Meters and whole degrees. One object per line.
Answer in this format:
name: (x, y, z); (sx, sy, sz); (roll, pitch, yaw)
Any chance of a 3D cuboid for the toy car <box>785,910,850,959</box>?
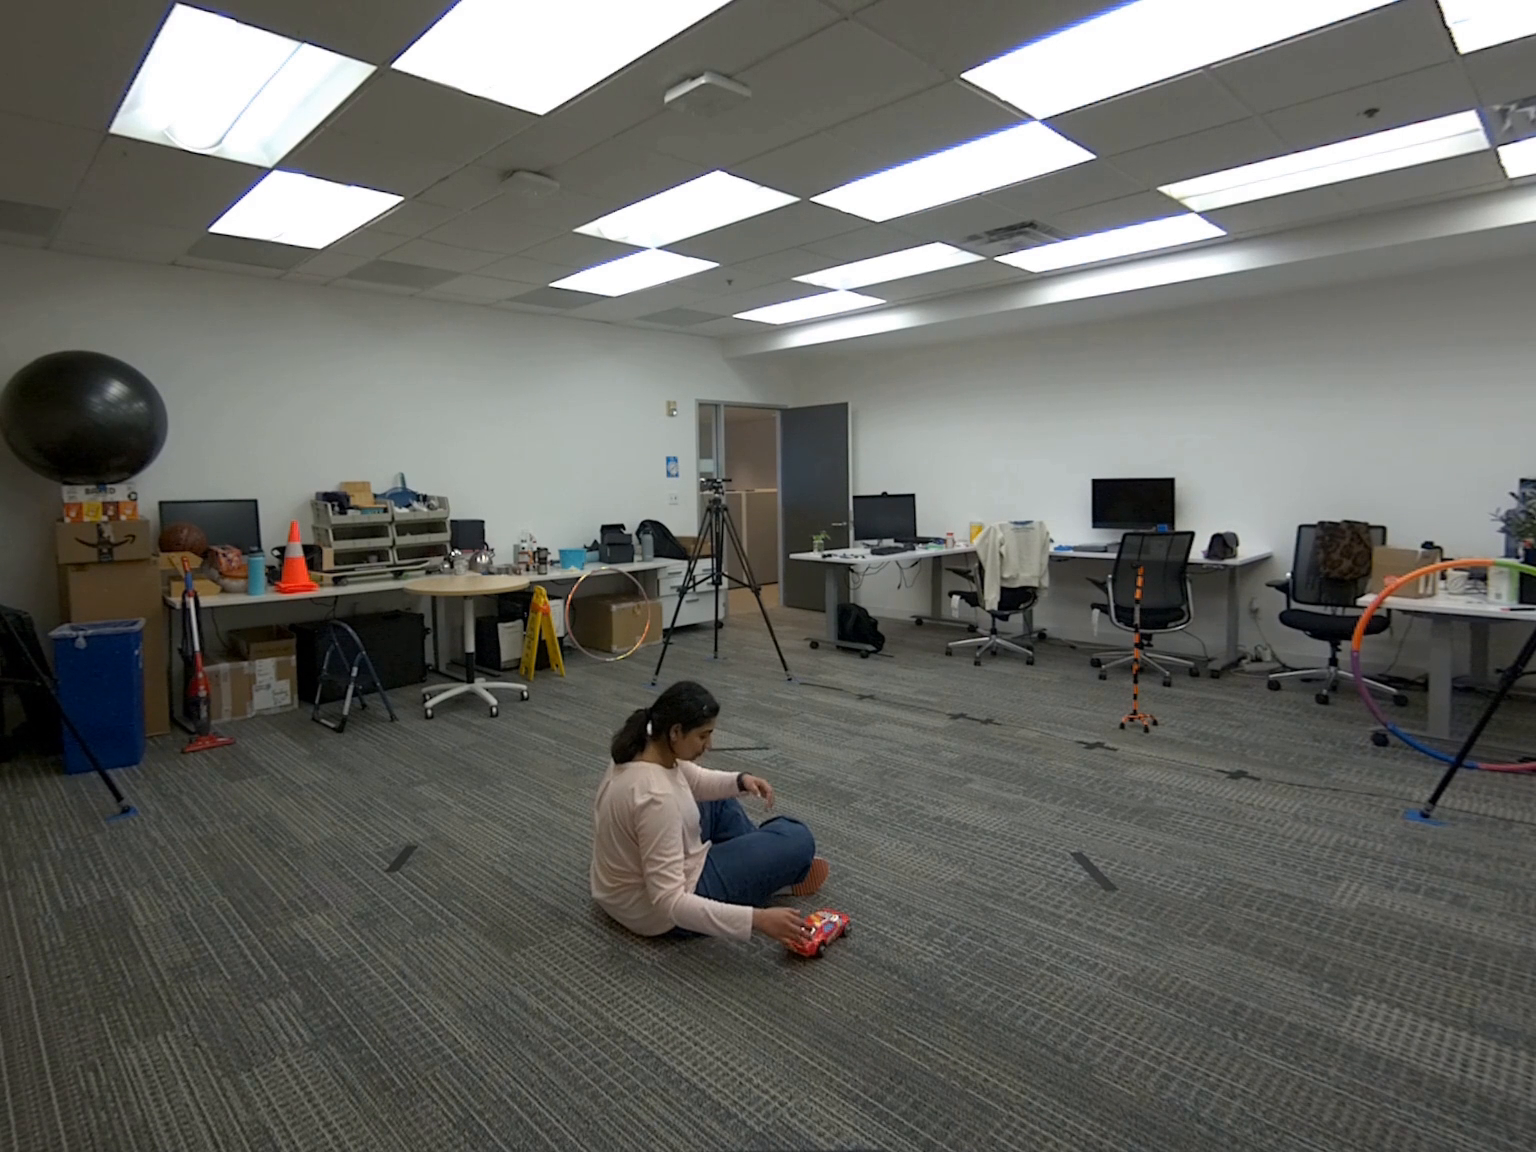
toy car: (0.137, 1.062, 2.561); (0.134, 0.083, 0.246); (5, -2, 38)
